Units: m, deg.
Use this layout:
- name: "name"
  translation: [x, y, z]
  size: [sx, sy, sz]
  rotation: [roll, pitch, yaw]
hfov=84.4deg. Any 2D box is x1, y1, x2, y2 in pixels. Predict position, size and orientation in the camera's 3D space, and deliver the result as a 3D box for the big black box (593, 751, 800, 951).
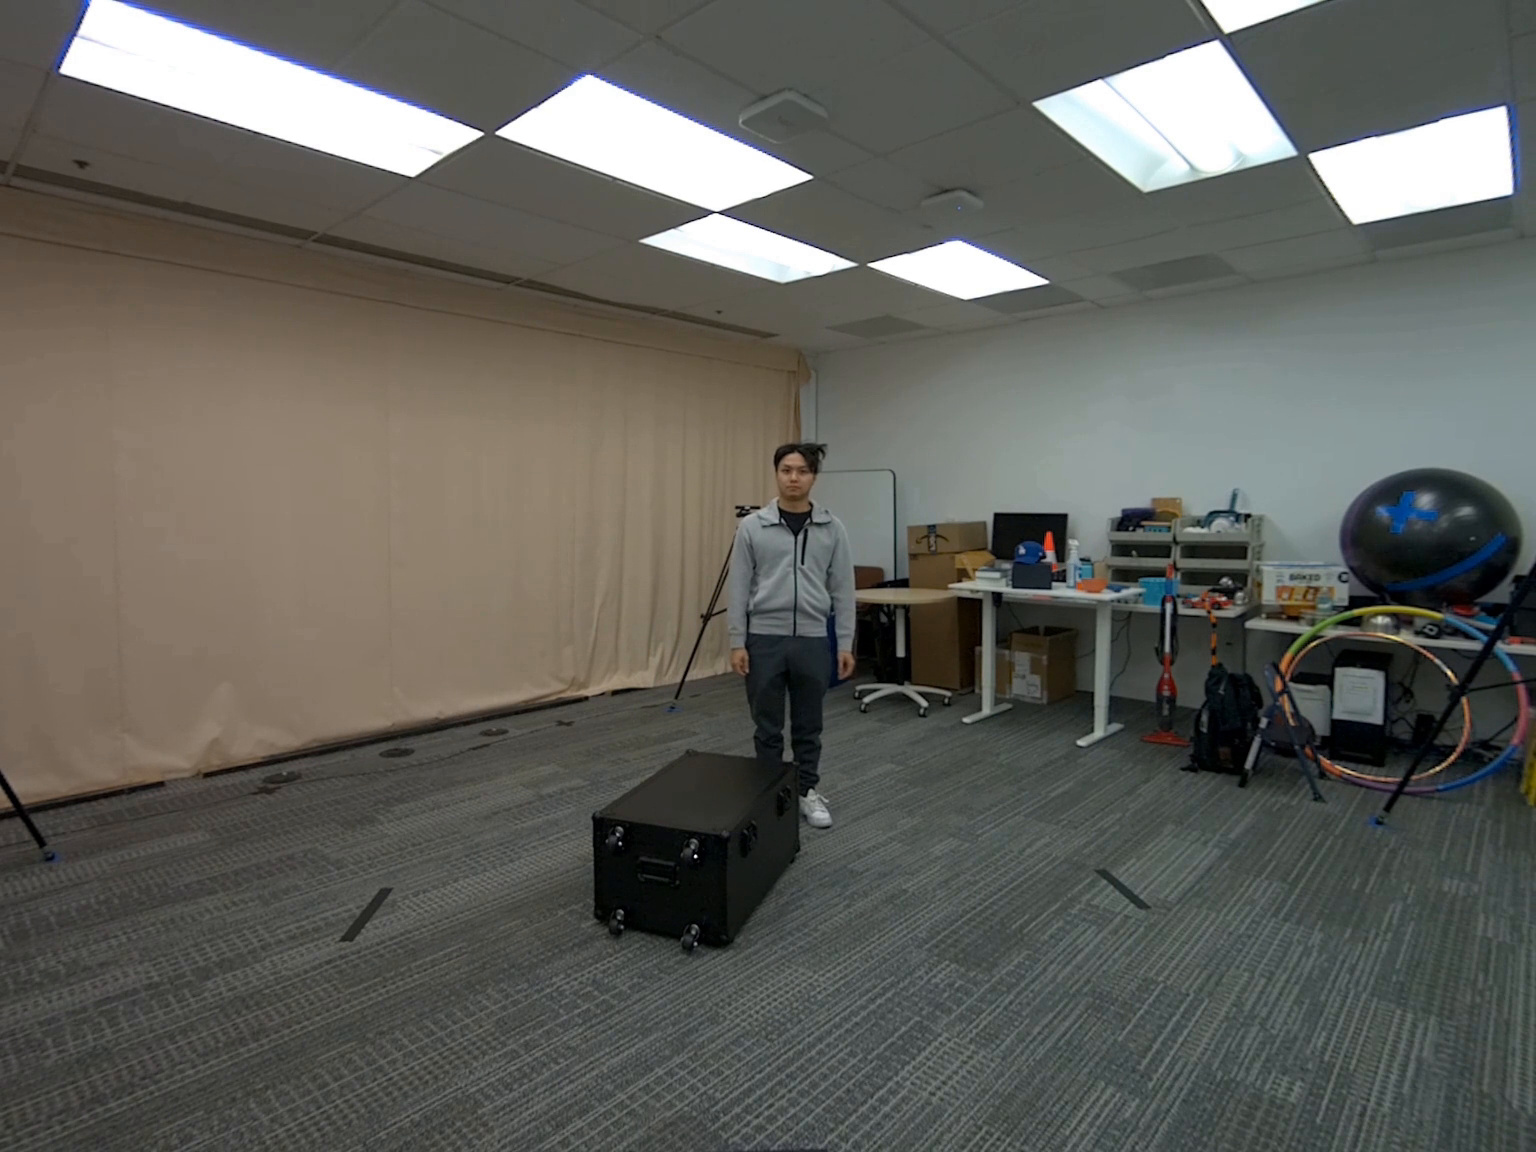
- name: "big black box"
  translation: [-0.215, 0.944, 3.088]
  size: [0.533, 0.395, 0.845]
  rotation: [2, 6, 20]
